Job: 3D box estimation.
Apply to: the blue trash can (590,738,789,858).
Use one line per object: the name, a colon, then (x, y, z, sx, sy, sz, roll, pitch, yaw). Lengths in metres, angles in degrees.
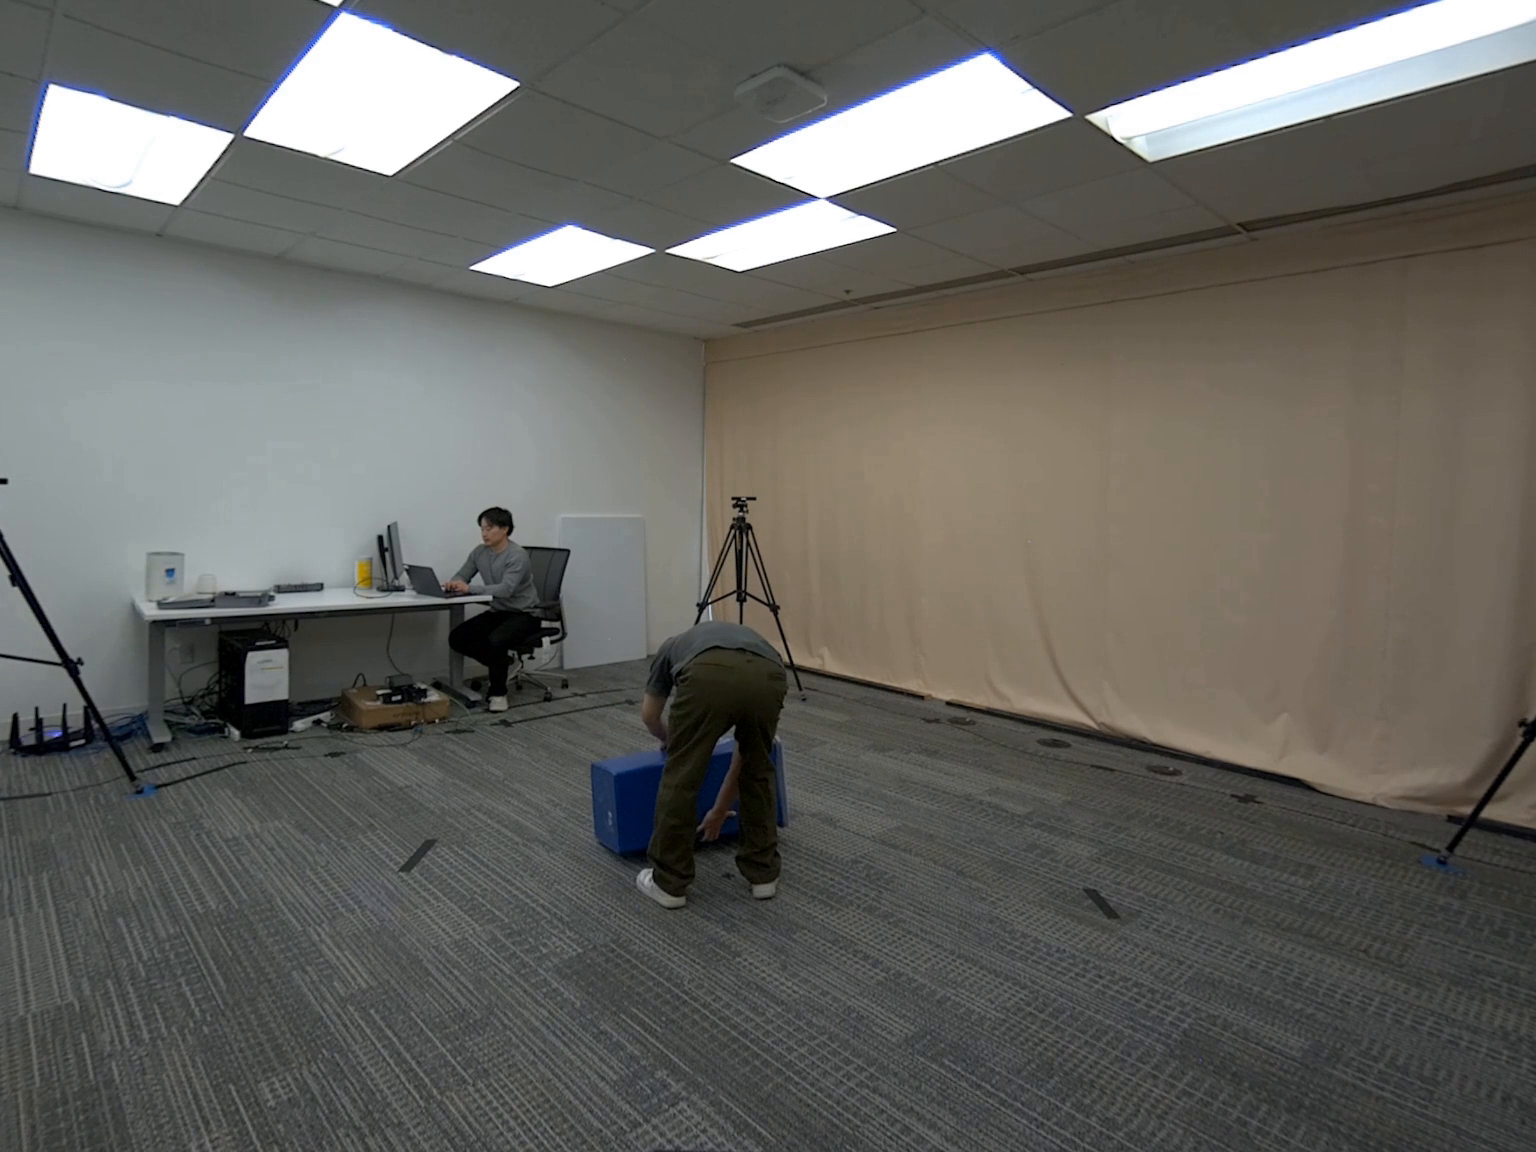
blue trash can: (-0.332, 0.887, 3.430, 0.701, 0.375, 0.384, -4, -2, -26)
